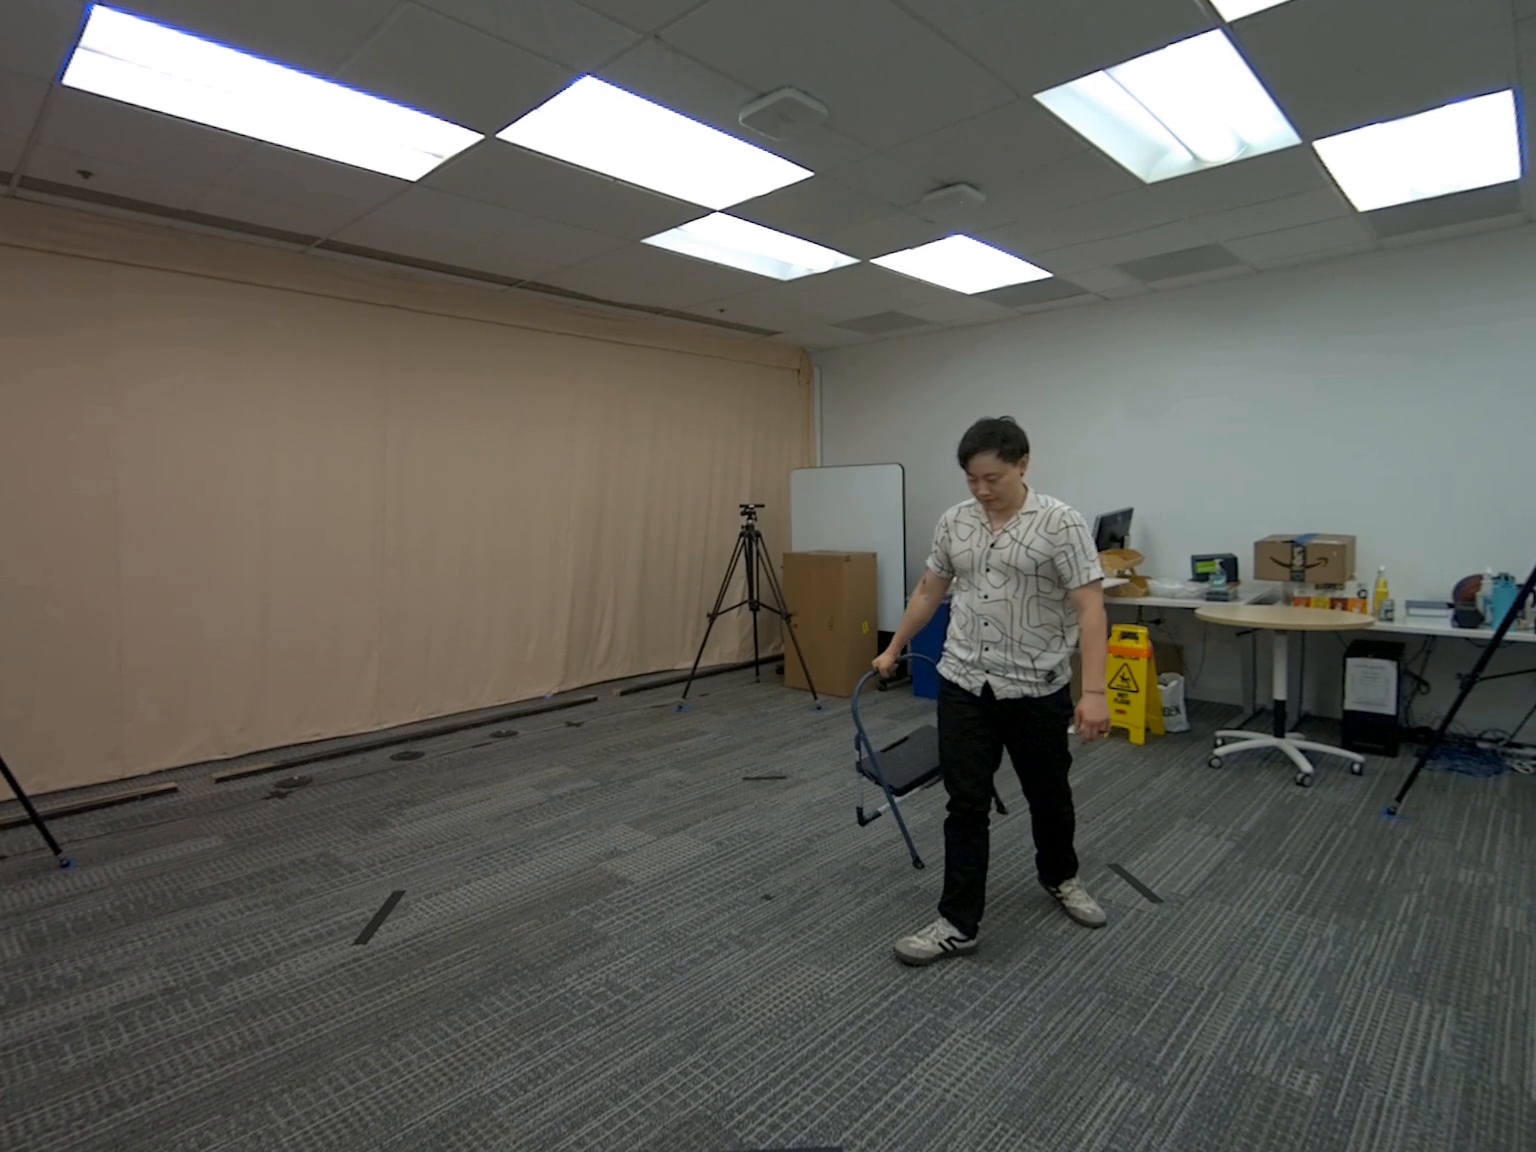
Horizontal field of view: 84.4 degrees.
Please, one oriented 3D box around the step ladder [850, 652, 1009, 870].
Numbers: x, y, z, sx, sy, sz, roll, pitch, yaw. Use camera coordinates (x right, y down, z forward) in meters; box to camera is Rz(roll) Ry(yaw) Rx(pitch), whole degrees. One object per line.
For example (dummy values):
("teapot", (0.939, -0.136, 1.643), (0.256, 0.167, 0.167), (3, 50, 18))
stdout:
("step ladder", (0.519, 0.600, 2.968), (0.423, 0.598, 0.360), (-21, 17, -26))
